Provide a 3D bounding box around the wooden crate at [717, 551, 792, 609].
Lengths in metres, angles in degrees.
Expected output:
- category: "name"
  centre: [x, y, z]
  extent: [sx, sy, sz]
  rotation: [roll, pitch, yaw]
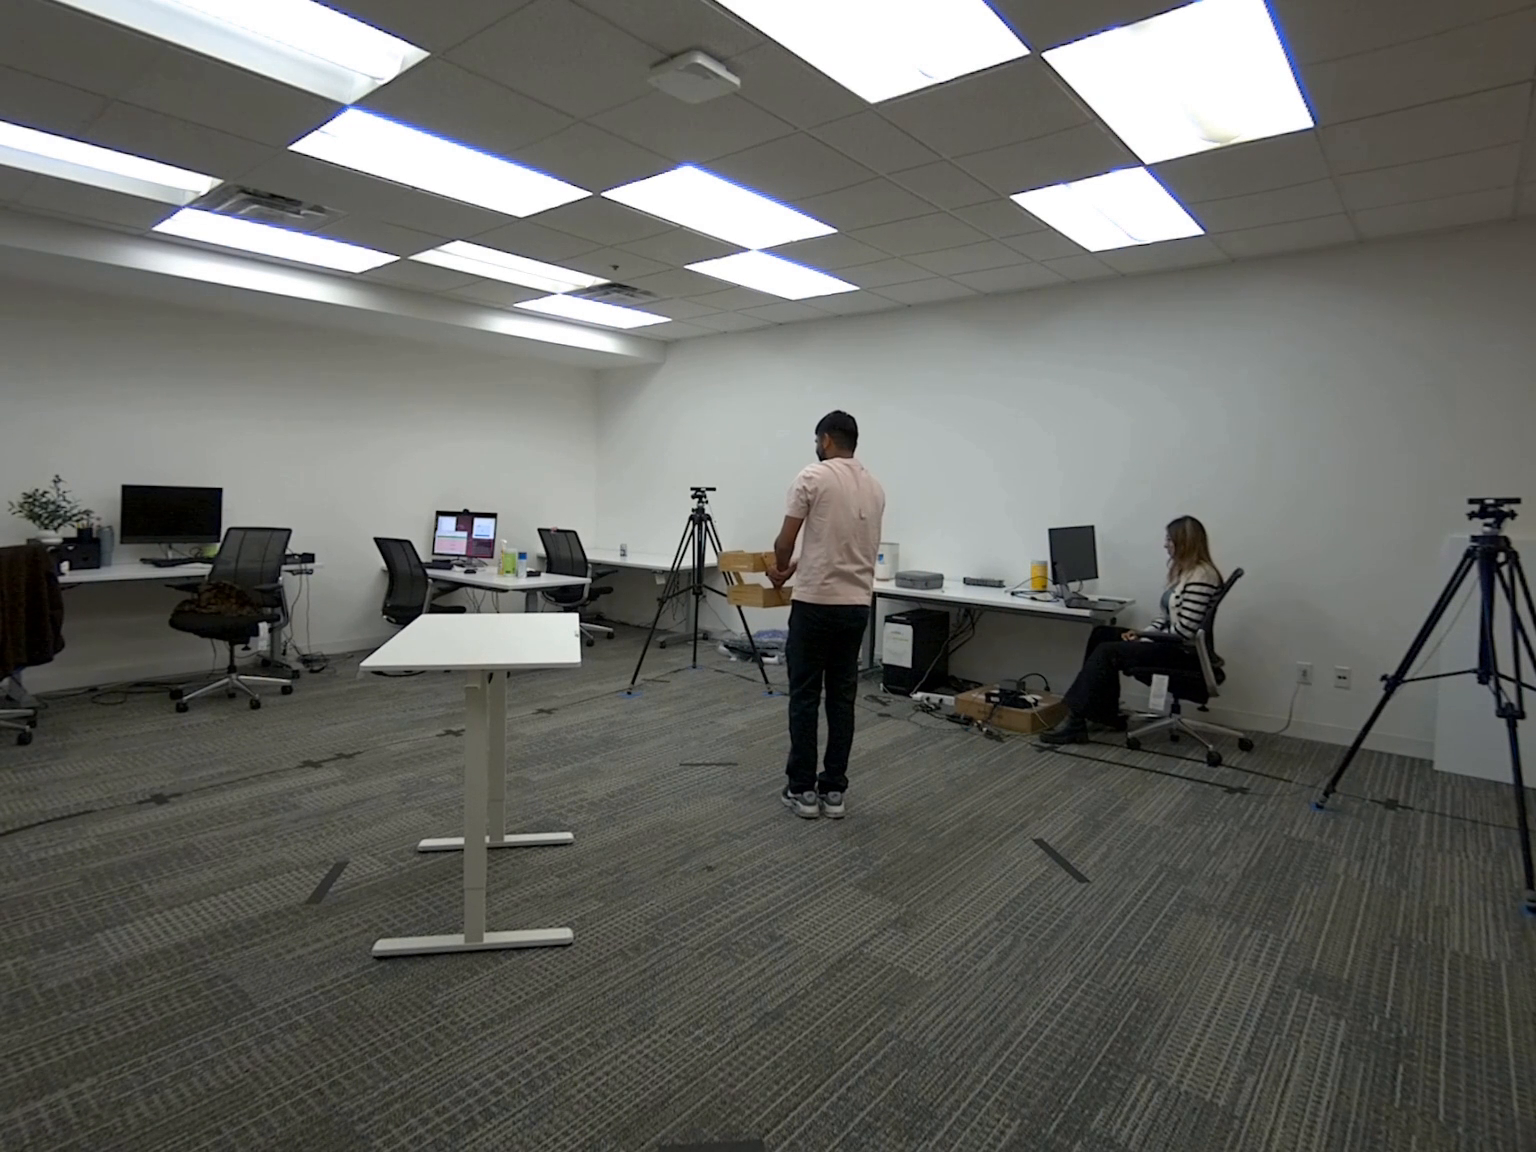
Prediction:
- category: "wooden crate"
  centre: [-0.034, -0.004, 4.103]
  extent: [0.294, 0.272, 0.334]
  rotation: [-7, 5, -33]
